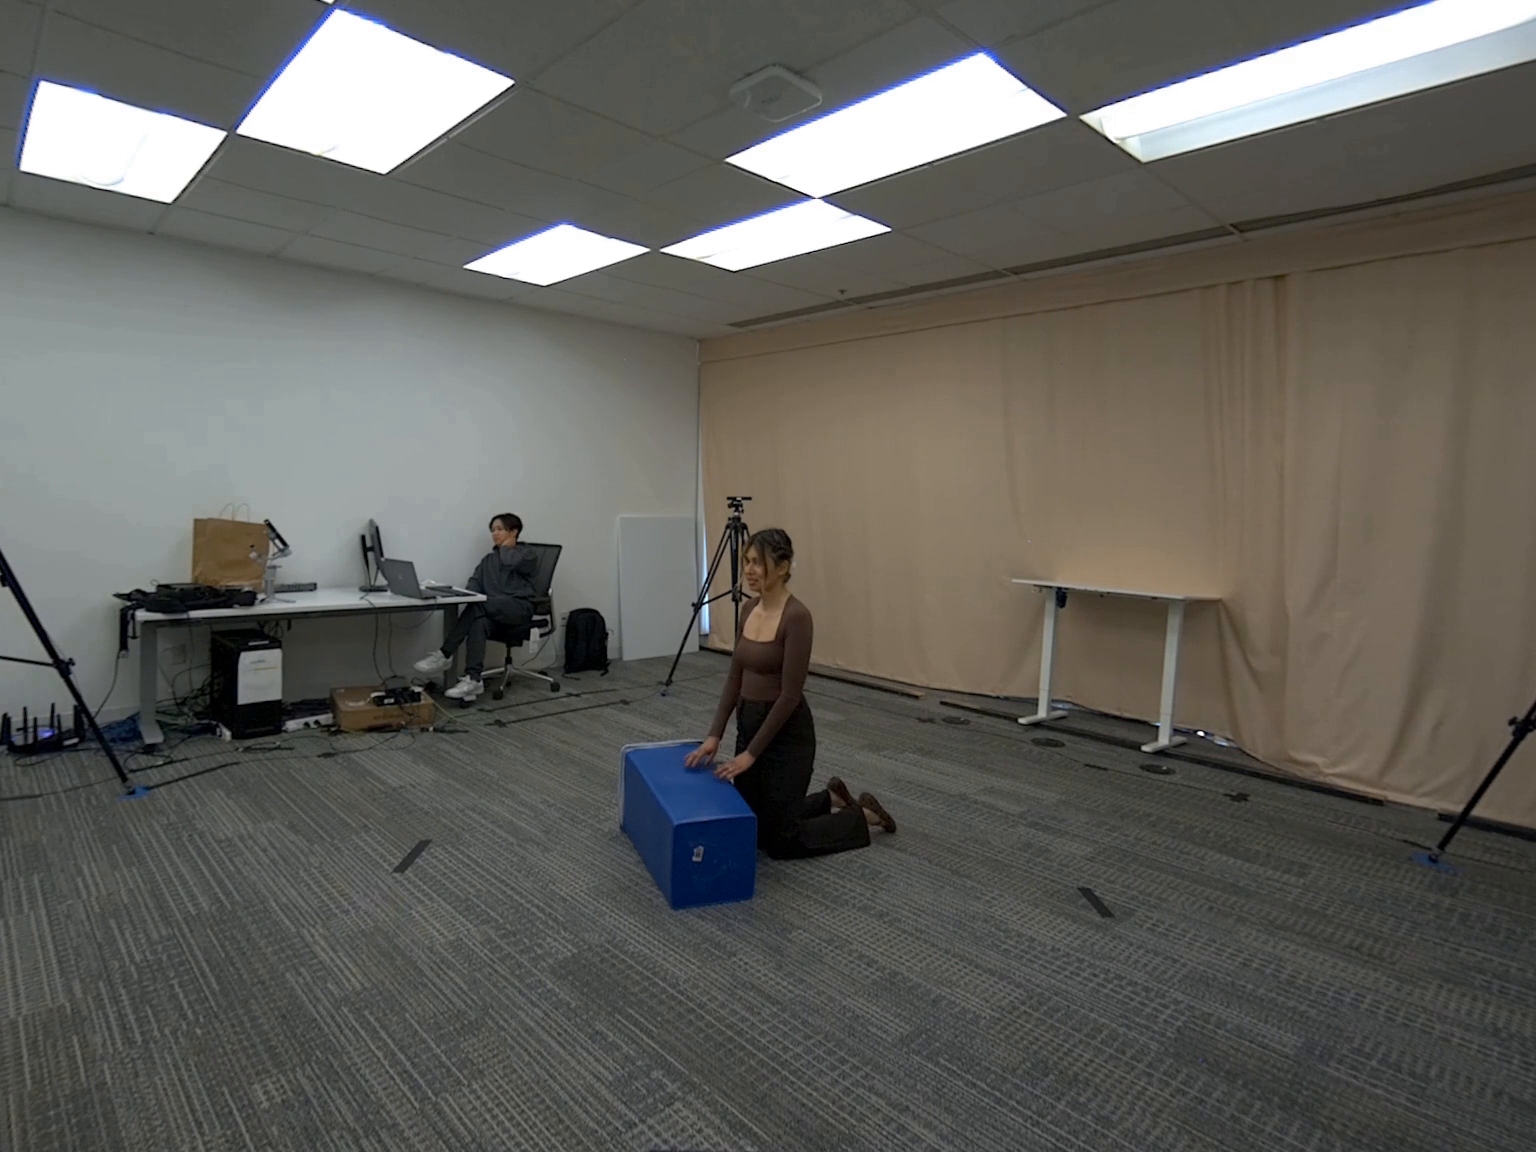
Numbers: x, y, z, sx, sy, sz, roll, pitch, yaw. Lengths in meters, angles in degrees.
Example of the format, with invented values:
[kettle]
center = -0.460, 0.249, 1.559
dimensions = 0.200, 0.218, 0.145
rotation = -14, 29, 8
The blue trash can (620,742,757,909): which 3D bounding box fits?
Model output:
[blue trash can]
center = -0.322, 0.919, 3.196
dimensions = 0.368, 0.377, 0.727
rotation = 1, 6, -20
